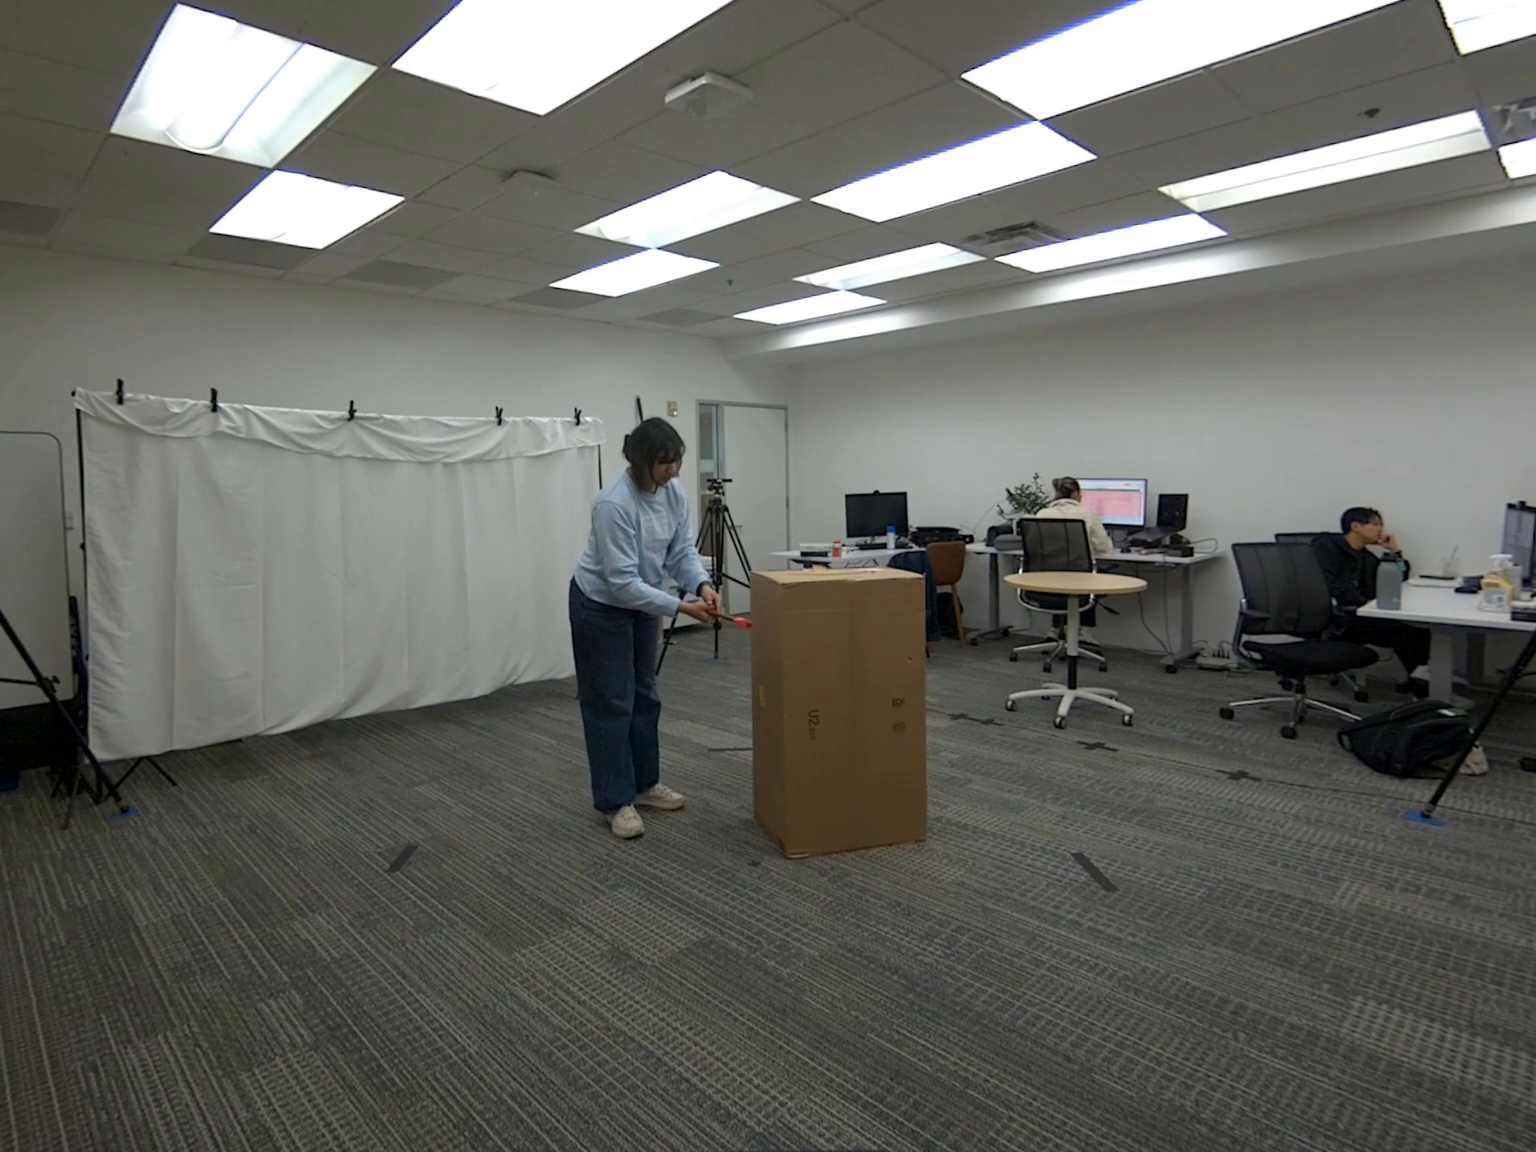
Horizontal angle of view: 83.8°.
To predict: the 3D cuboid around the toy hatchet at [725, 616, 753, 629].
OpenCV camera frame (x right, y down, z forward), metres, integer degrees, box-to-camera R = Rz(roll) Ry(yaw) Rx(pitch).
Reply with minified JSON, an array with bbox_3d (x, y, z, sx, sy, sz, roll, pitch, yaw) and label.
[{"bbox_3d":[-0.172,0.151,3.162,0.126,0.029,0.279,17,-2,-37],"label":"toy hatchet"}]
